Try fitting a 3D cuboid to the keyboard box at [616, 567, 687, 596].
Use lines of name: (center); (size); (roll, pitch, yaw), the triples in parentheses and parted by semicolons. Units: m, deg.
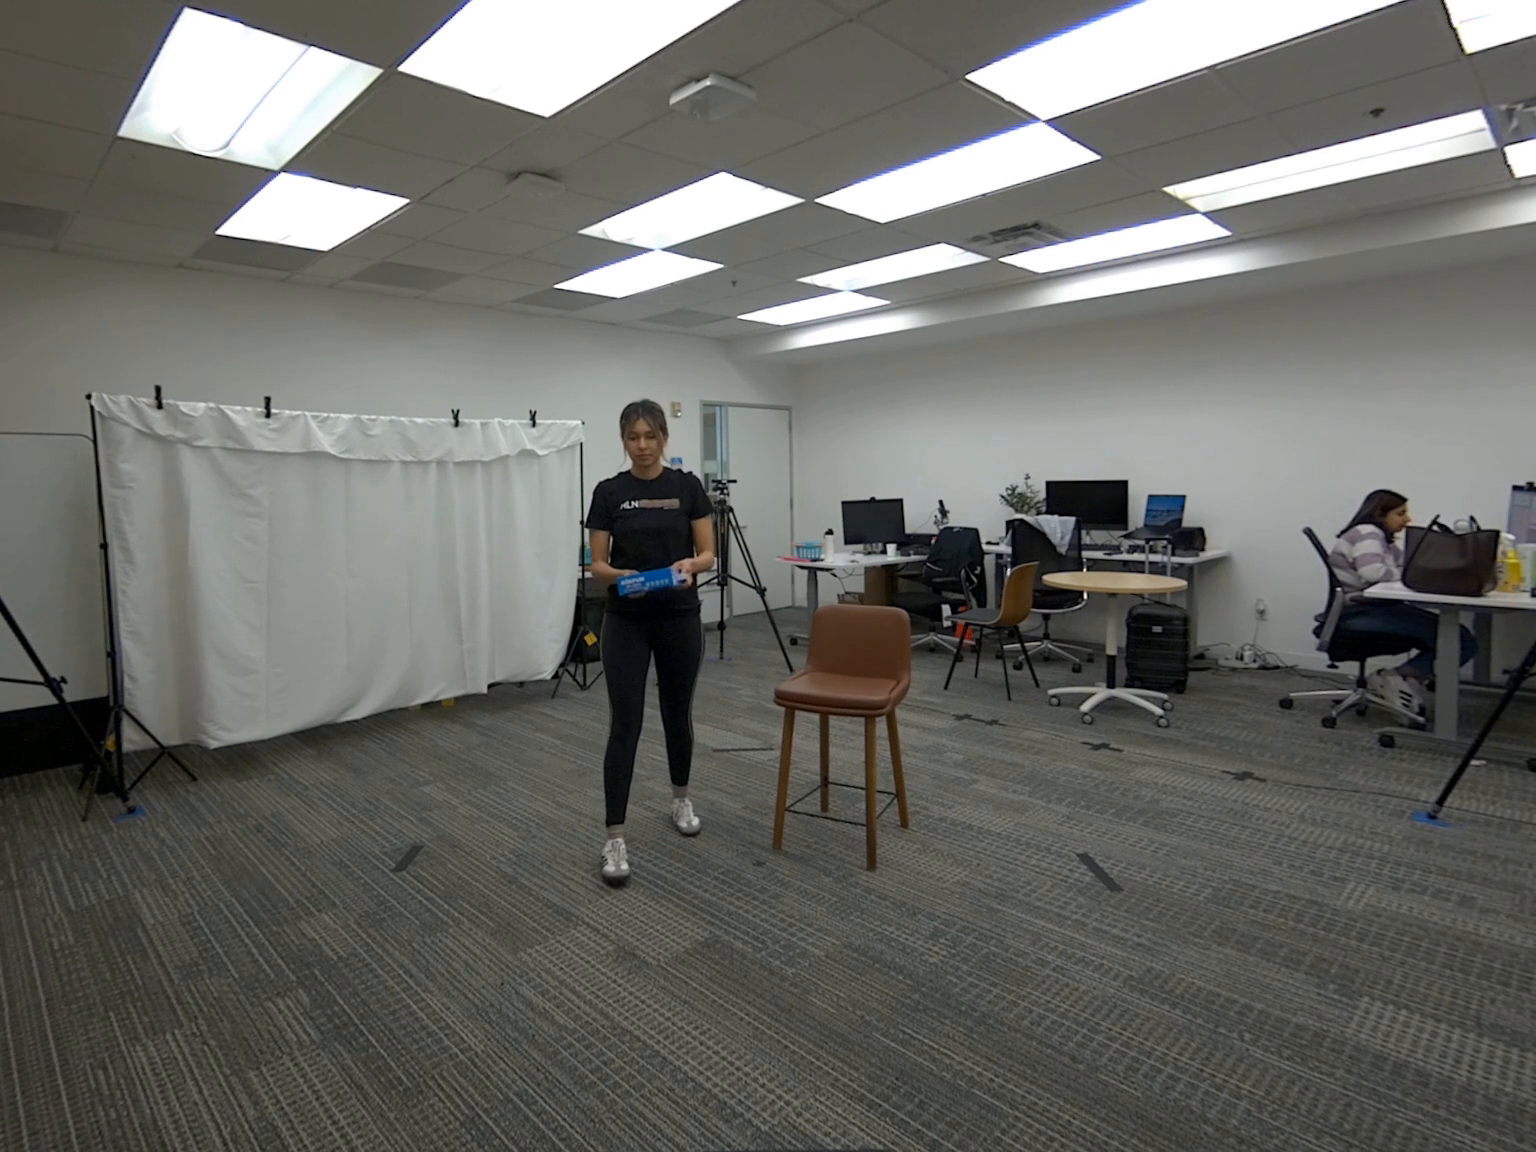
keyboard box: (-0.377, 0.017, 2.839); (0.176, 0.059, 0.436); (-10, 1, 0)
